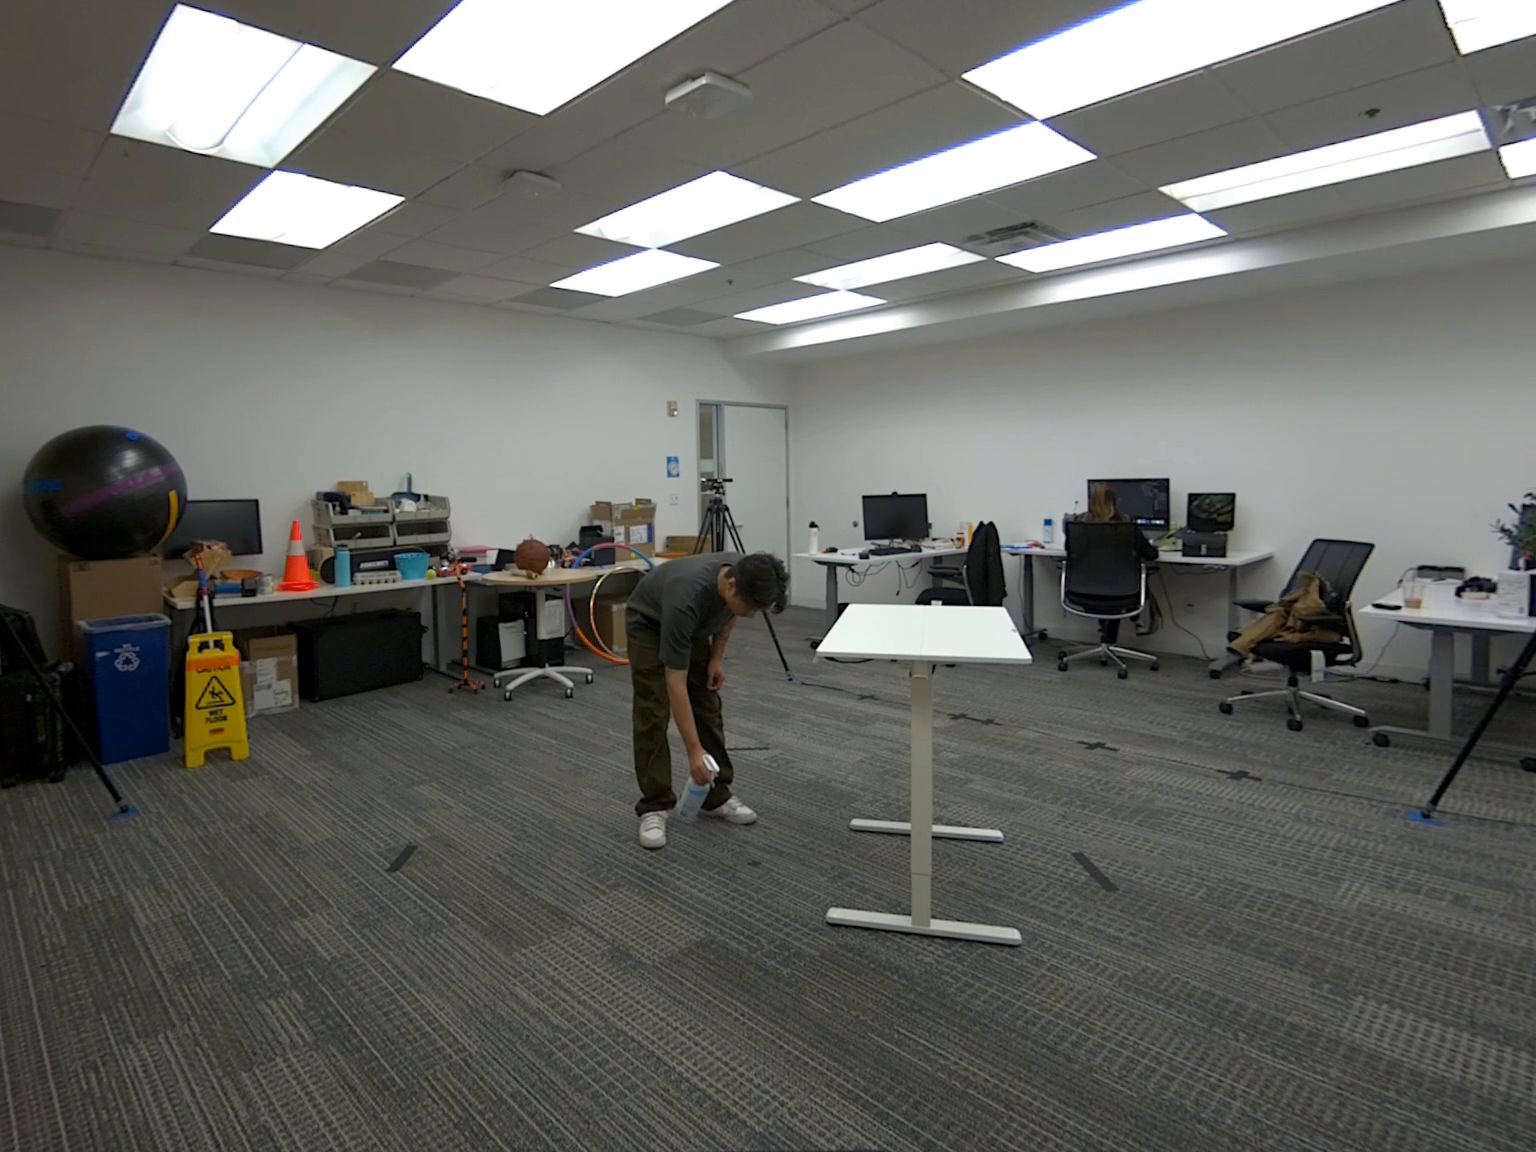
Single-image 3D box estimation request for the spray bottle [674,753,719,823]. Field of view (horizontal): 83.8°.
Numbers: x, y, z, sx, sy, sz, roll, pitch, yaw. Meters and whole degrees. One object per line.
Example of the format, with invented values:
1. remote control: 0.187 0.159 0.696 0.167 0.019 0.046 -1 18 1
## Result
1. spray bottle: -0.254 0.763 3.081 0.086 0.294 0.092 16 31 -15
